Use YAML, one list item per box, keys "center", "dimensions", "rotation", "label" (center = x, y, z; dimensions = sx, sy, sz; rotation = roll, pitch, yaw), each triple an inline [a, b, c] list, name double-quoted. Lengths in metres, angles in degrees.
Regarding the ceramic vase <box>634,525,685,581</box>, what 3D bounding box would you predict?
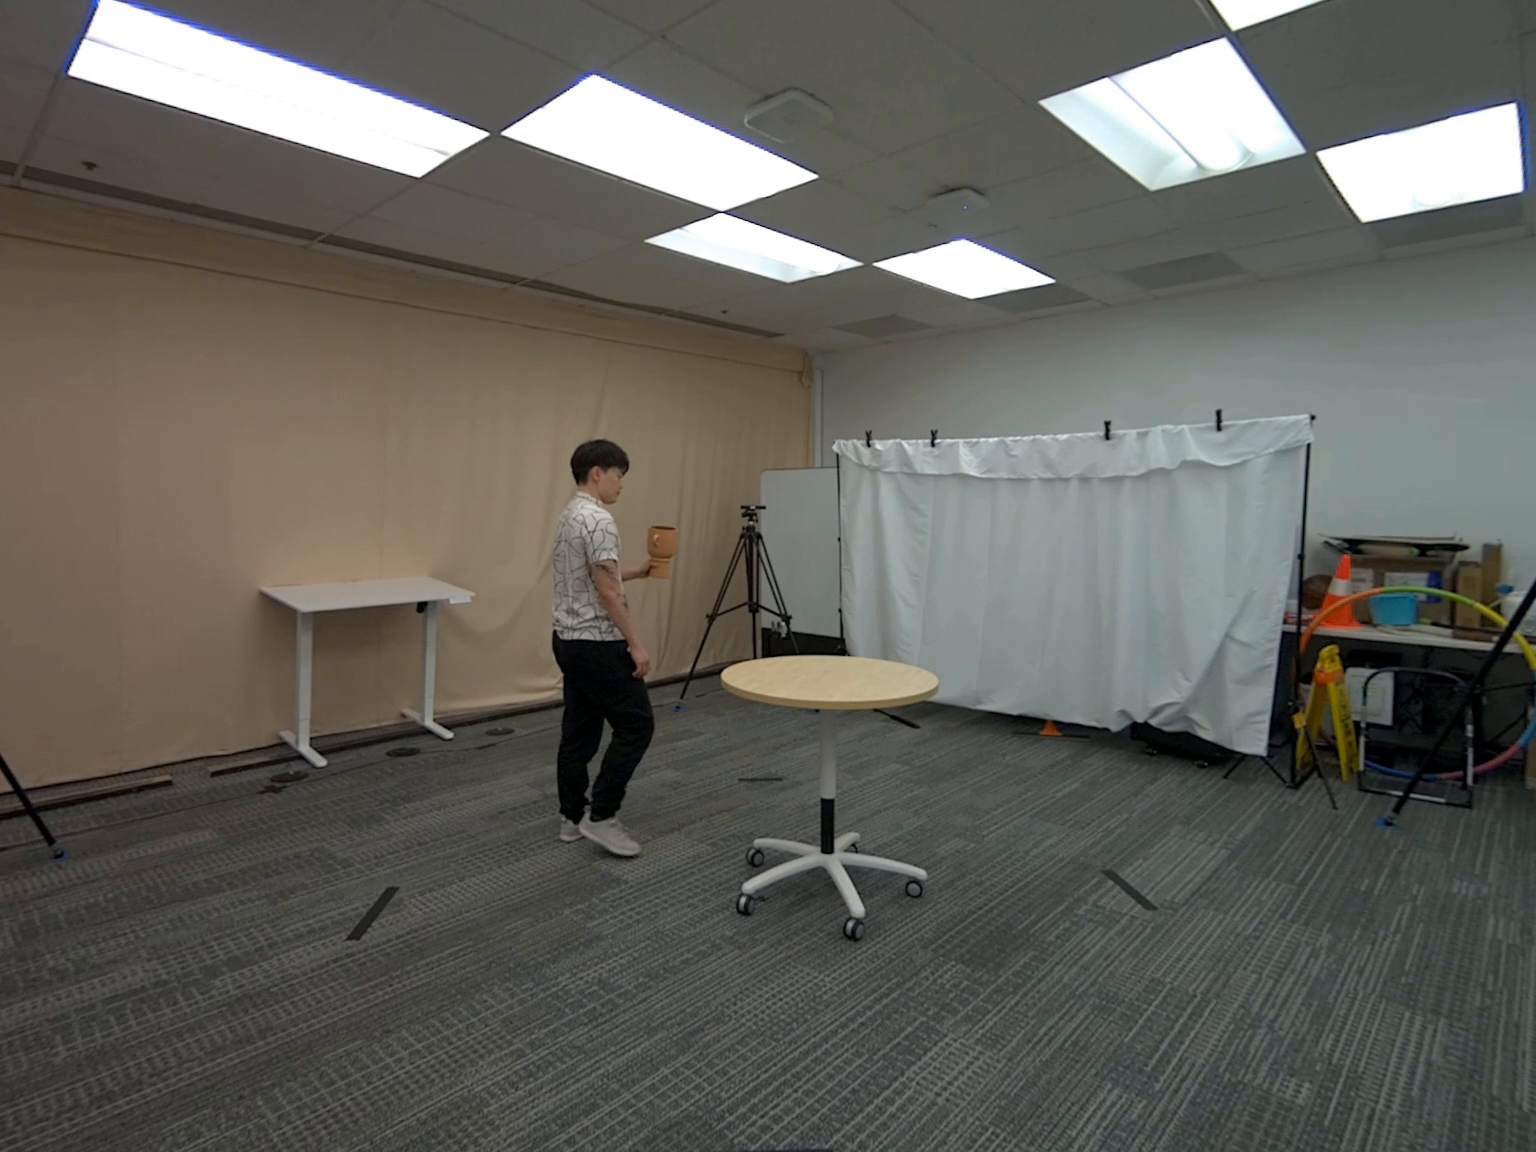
- center: [-0.487, -0.104, 3.765]
  dimensions: [0.154, 0.219, 0.139]
  rotation: [0, 11, -37]
  label: "ceramic vase"
